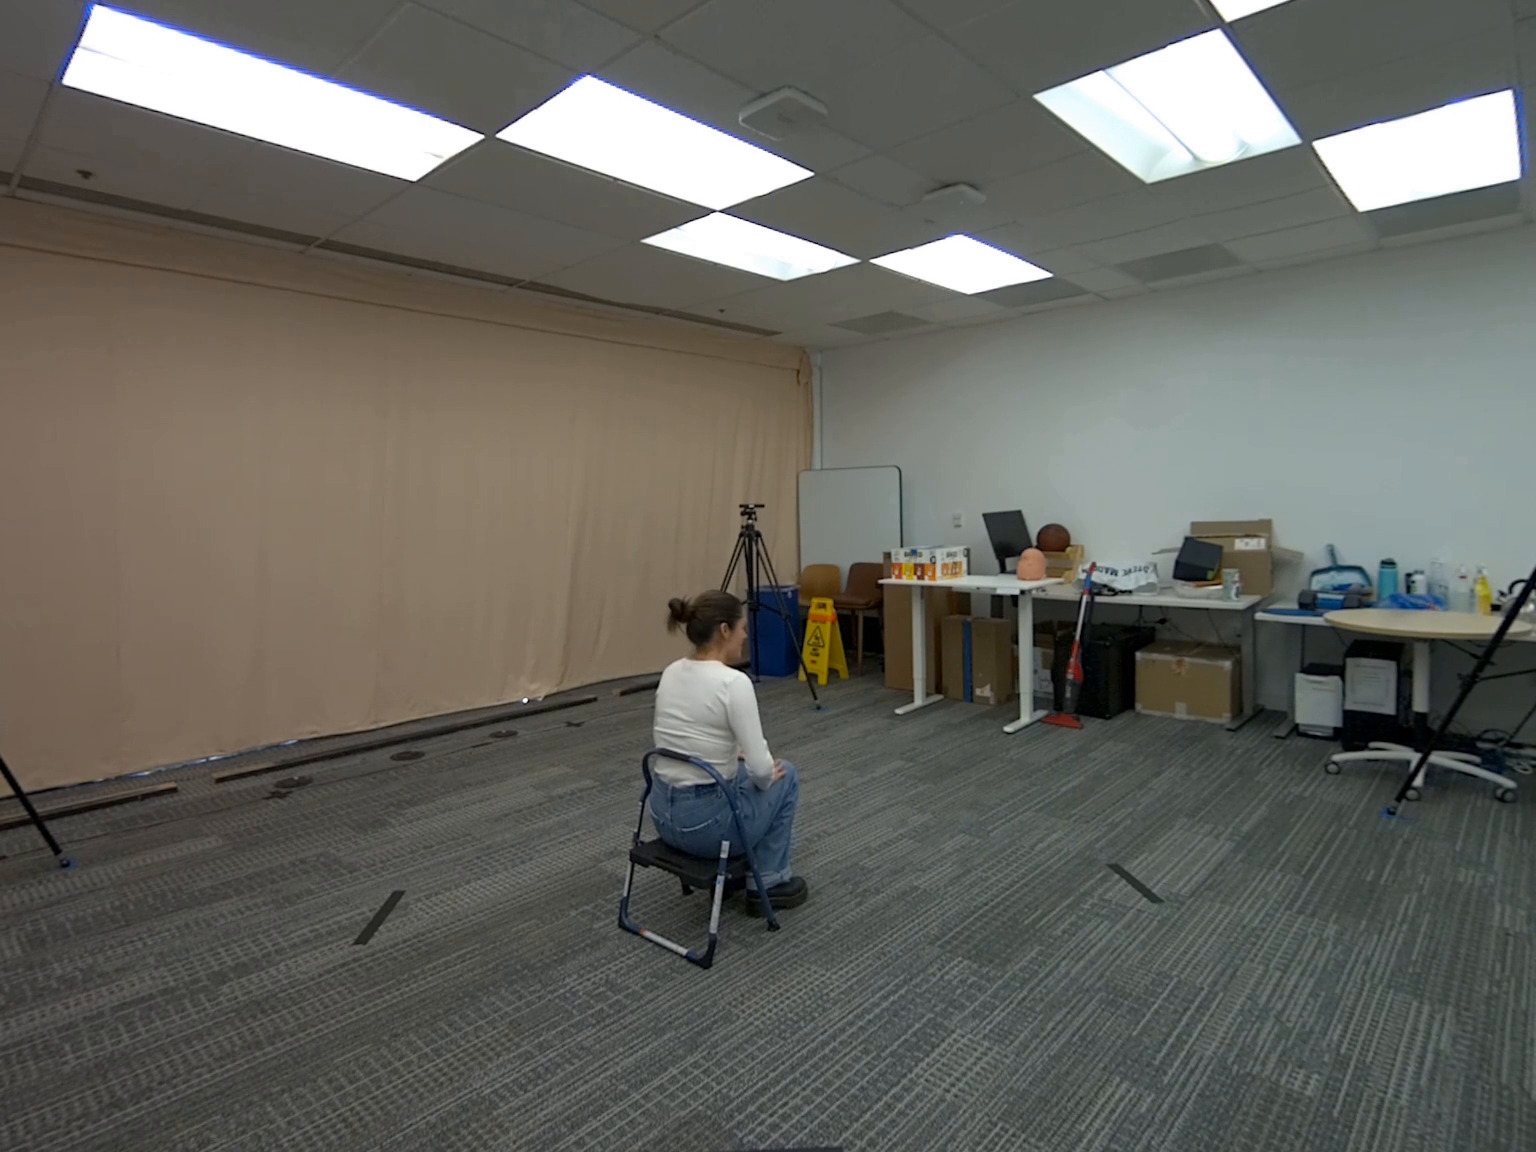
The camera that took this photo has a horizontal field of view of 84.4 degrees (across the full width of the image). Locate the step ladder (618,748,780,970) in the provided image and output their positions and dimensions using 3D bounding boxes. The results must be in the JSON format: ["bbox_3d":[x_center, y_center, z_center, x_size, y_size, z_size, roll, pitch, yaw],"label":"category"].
[{"bbox_3d":[-0.239,0.860,2.767,0.445,0.605,0.339,1,4,40],"label":"step ladder"}]
